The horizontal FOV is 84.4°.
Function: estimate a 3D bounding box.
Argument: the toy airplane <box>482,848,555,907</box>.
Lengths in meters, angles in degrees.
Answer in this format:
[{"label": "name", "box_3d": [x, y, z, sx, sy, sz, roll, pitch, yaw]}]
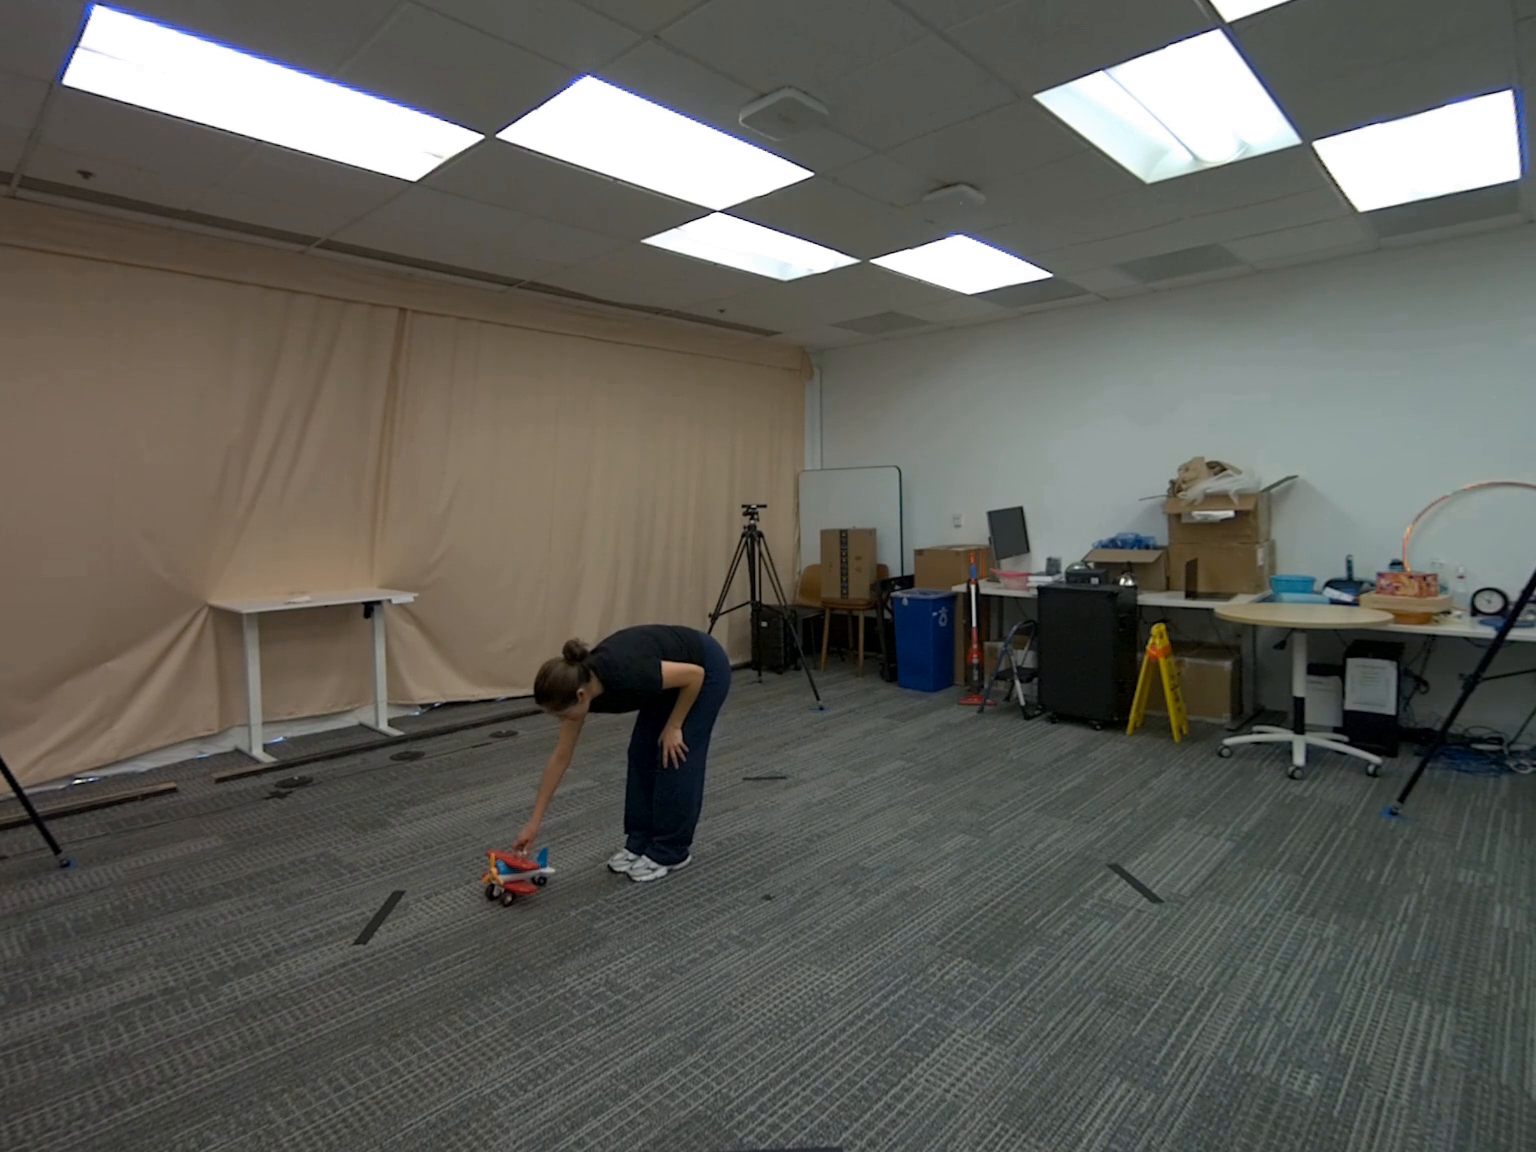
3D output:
[{"label": "toy airplane", "box_3d": [-0.912, 1.083, 3.063, 0.254, 0.156, 0.257, -1, 5, 8]}]
